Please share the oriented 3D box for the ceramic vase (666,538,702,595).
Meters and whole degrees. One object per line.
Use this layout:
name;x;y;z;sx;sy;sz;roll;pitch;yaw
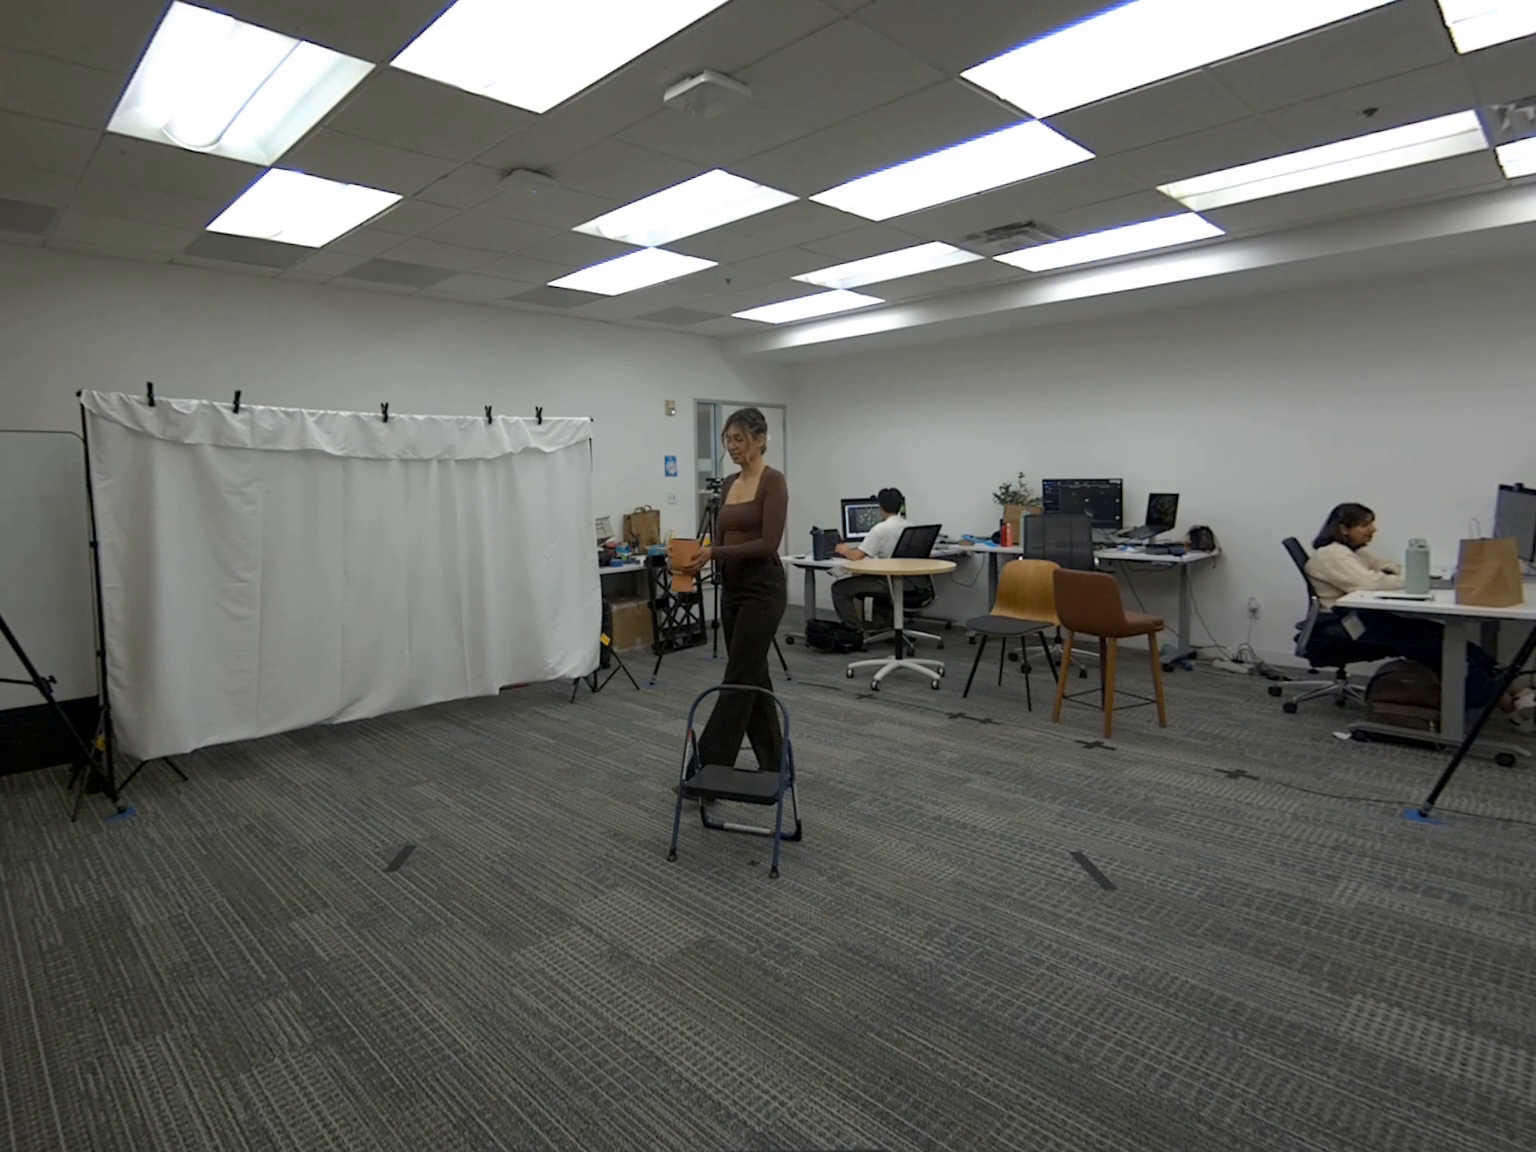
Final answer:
ceramic vase;-0.367;-0.044;3.657;0.158;0.219;0.135;2;2;-5
